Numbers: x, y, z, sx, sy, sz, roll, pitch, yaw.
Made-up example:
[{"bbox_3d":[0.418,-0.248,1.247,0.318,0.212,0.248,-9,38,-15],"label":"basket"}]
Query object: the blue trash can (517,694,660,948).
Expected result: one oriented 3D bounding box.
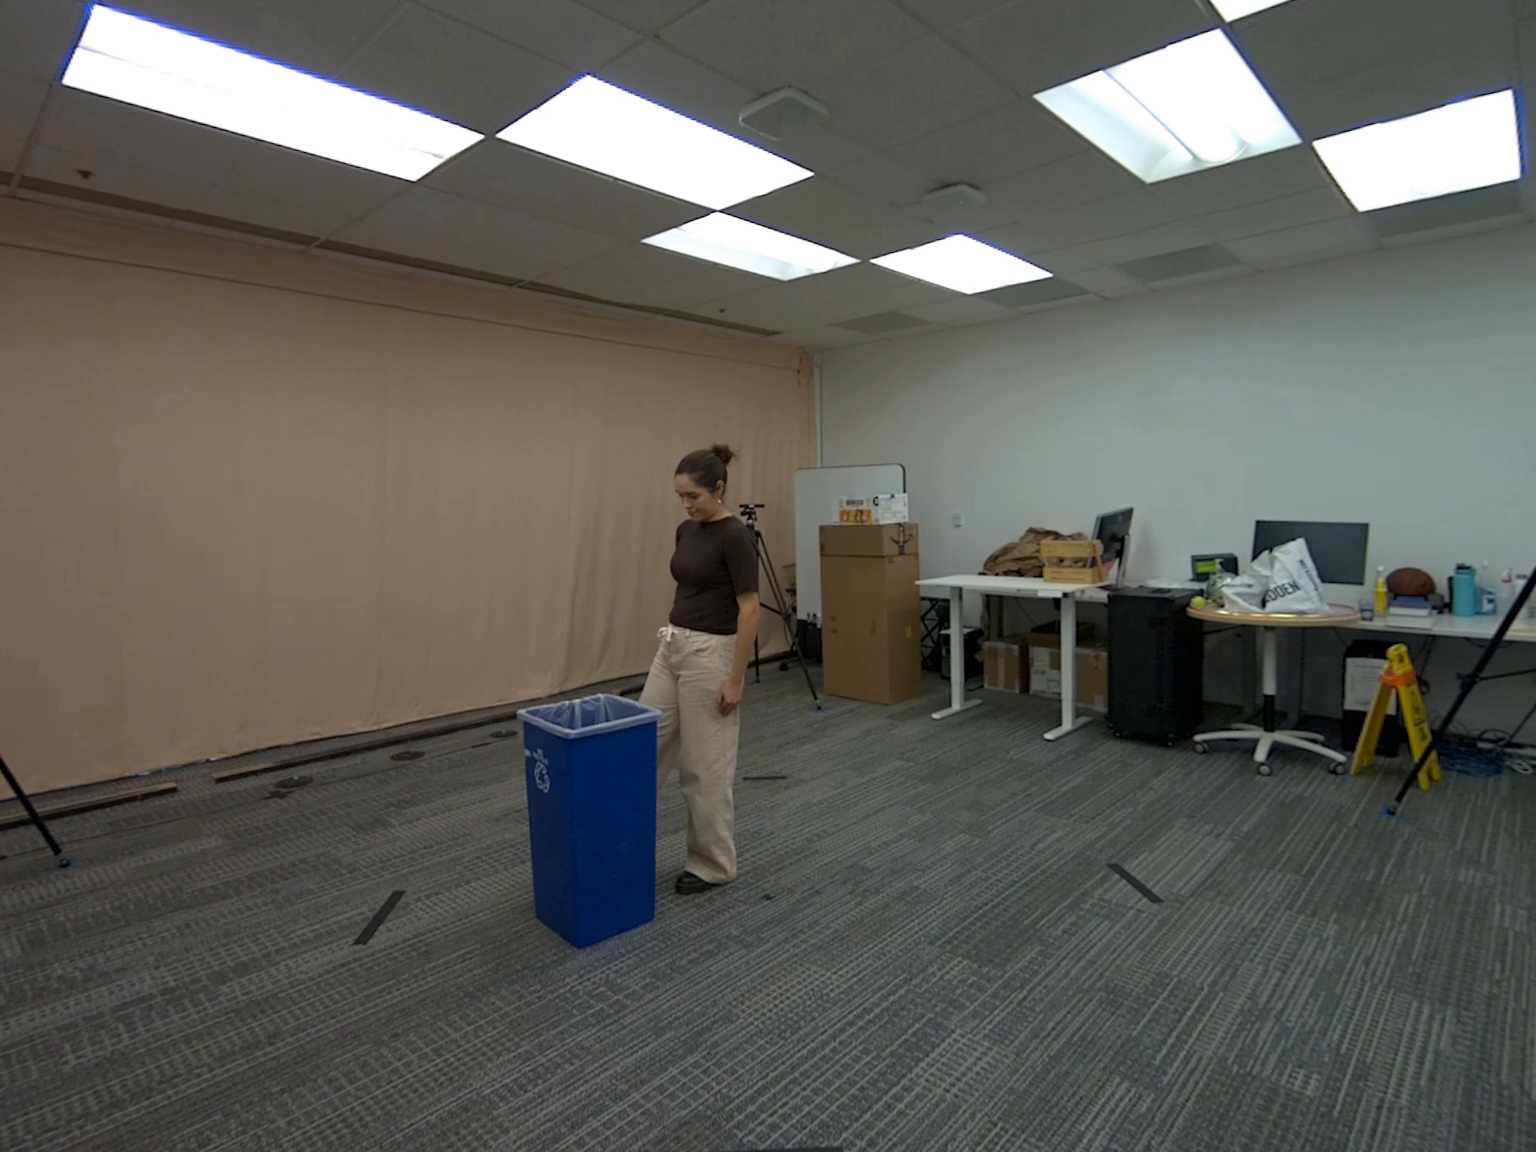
[{"bbox_3d":[-0.598,0.808,2.832,0.363,0.712,0.390,-4,5,-42],"label":"blue trash can"}]
